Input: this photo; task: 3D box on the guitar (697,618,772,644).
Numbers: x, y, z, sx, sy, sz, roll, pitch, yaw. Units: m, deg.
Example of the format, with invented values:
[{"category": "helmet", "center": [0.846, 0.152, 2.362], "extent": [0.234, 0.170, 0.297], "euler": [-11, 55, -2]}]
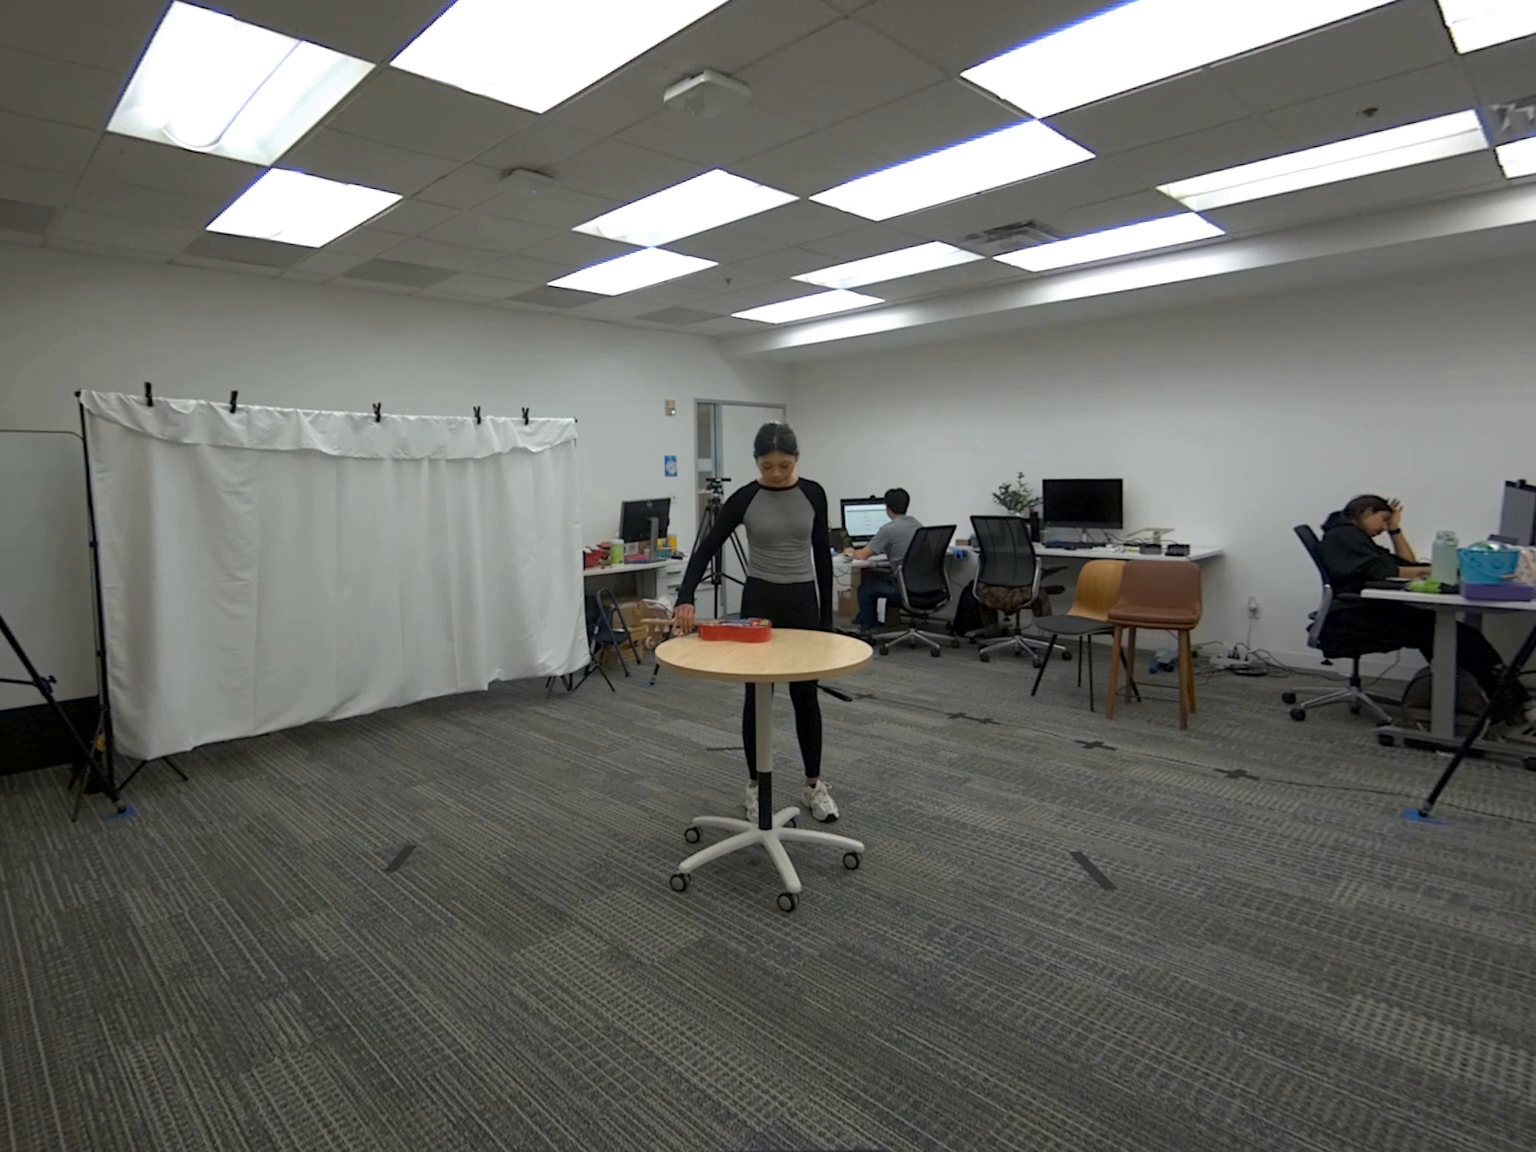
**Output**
[{"category": "guitar", "center": [-0.229, 0.197, 3.263], "extent": [0.505, 0.070, 0.191], "euler": [2, 6, 15]}]
